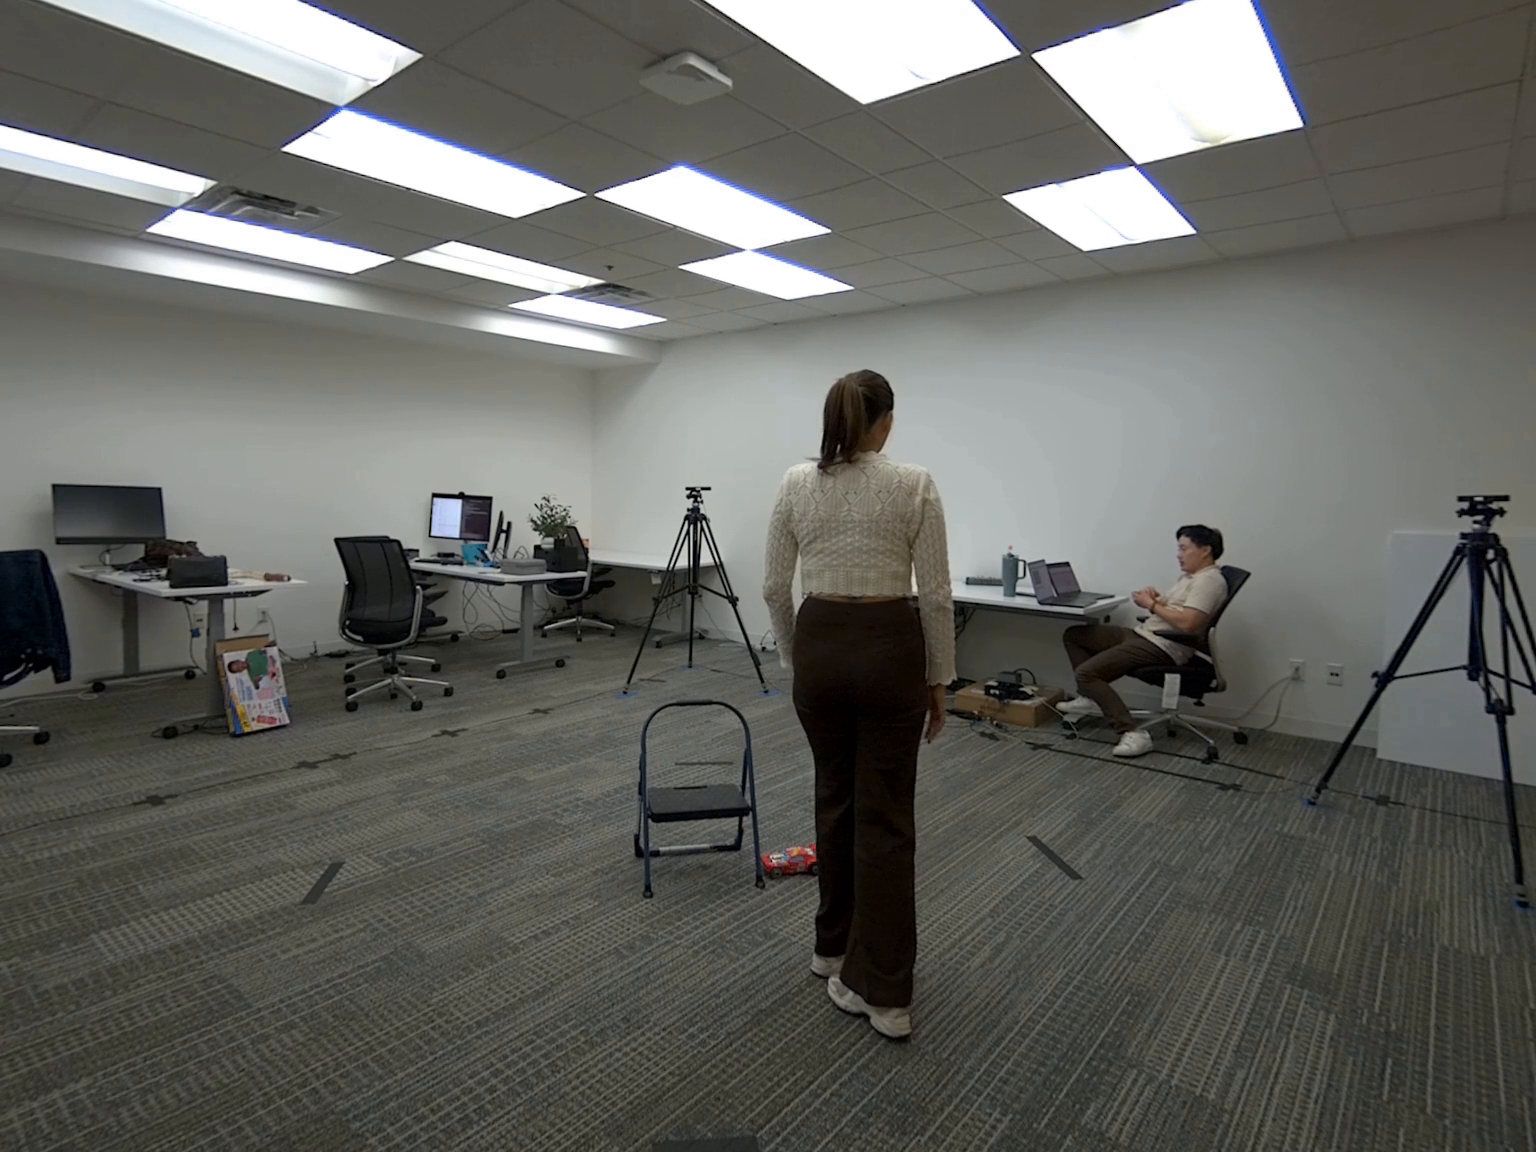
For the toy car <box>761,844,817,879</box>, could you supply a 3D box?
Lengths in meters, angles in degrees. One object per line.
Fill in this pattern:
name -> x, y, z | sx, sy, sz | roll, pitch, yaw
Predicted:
toy car -> 0.102, 1.041, 3.107 | 0.252, 0.082, 0.133 | -12, 9, -12
